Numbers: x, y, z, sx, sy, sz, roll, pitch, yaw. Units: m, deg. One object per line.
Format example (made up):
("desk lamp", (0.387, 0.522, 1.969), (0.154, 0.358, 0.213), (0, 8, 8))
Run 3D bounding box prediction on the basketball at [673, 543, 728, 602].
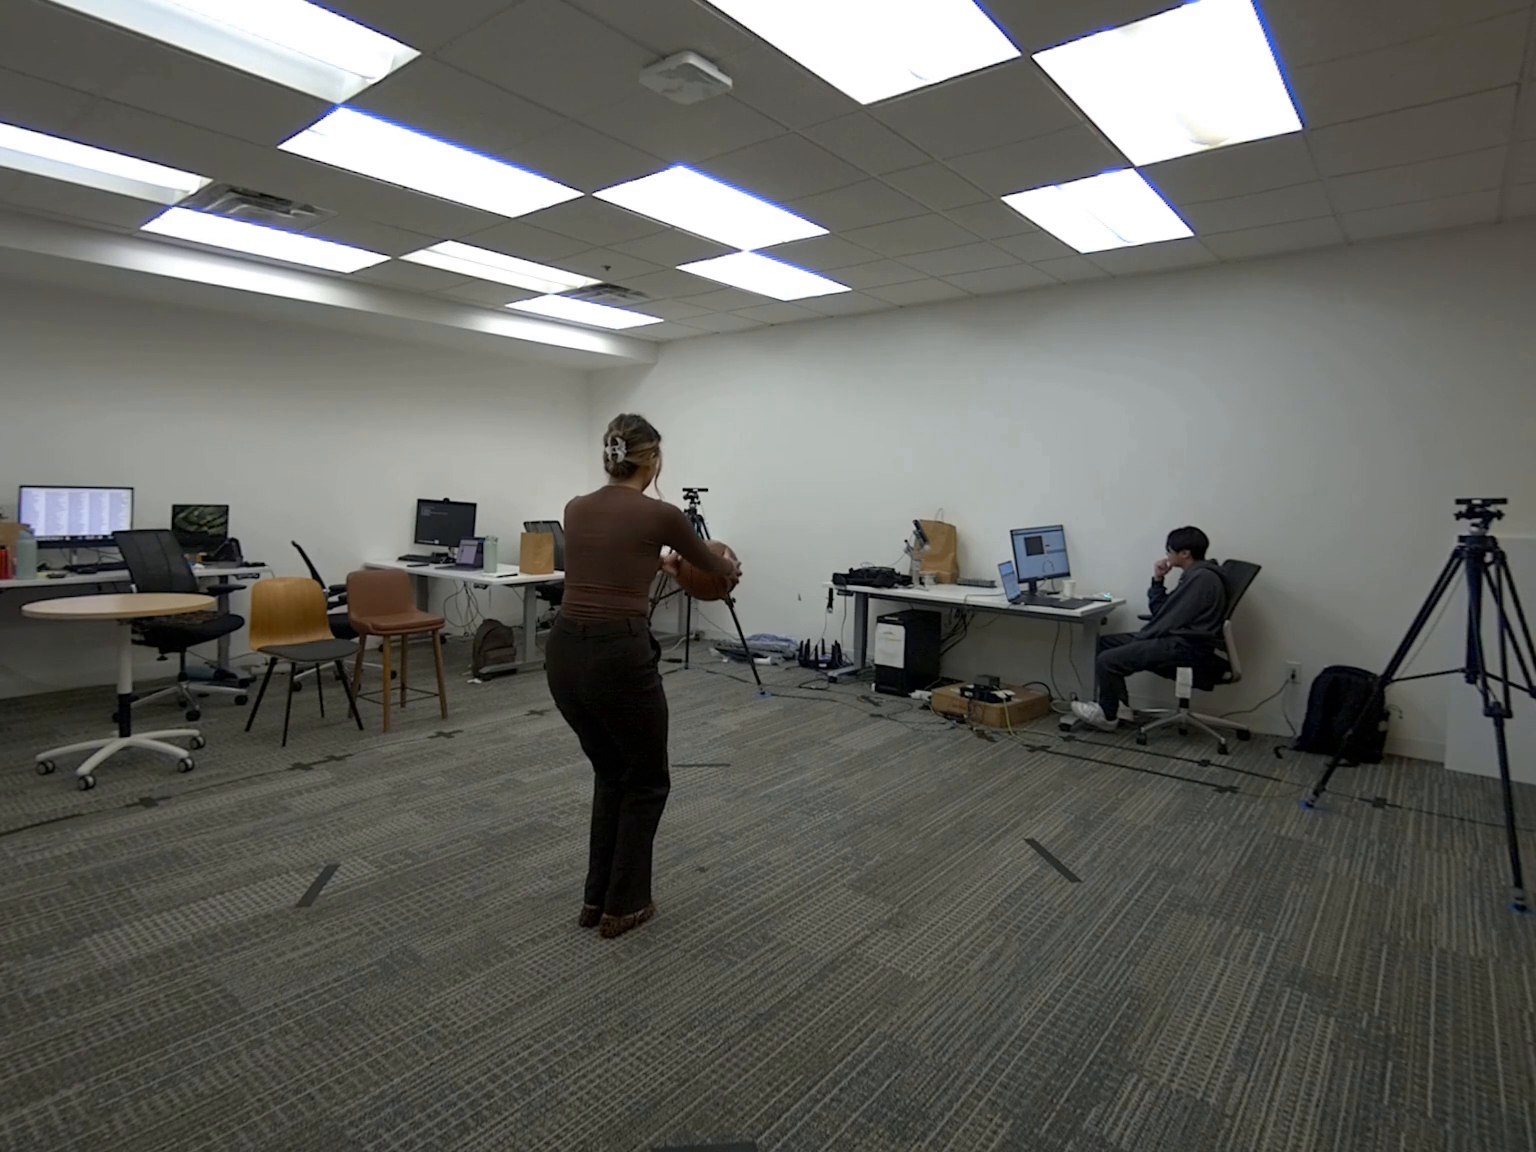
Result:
("basketball", (-0.240, -0.019, 3.275), (0.235, 0.235, 0.237), (1, 4, -2))
